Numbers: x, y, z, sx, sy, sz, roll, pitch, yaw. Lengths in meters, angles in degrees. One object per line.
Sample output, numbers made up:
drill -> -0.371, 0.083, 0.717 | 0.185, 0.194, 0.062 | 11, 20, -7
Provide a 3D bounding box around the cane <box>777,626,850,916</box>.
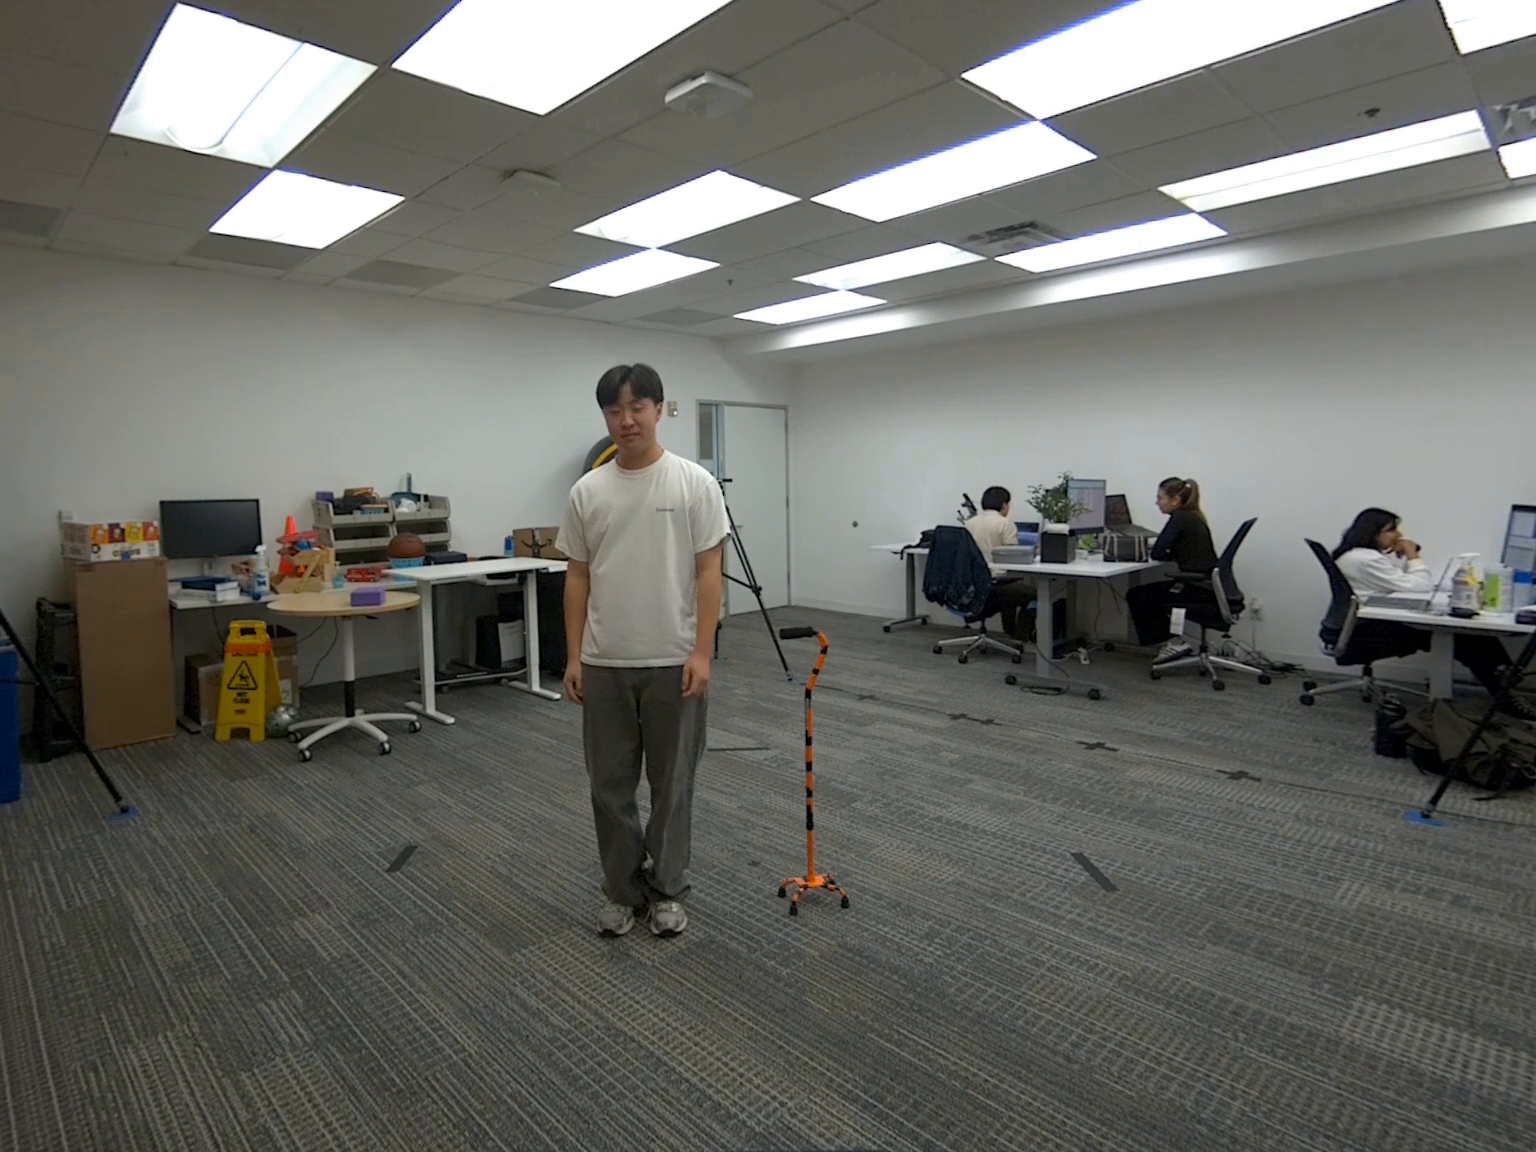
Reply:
cane -> 0.147, 0.623, 2.805 | 0.203, 0.906, 0.154 | -1, 3, -16
